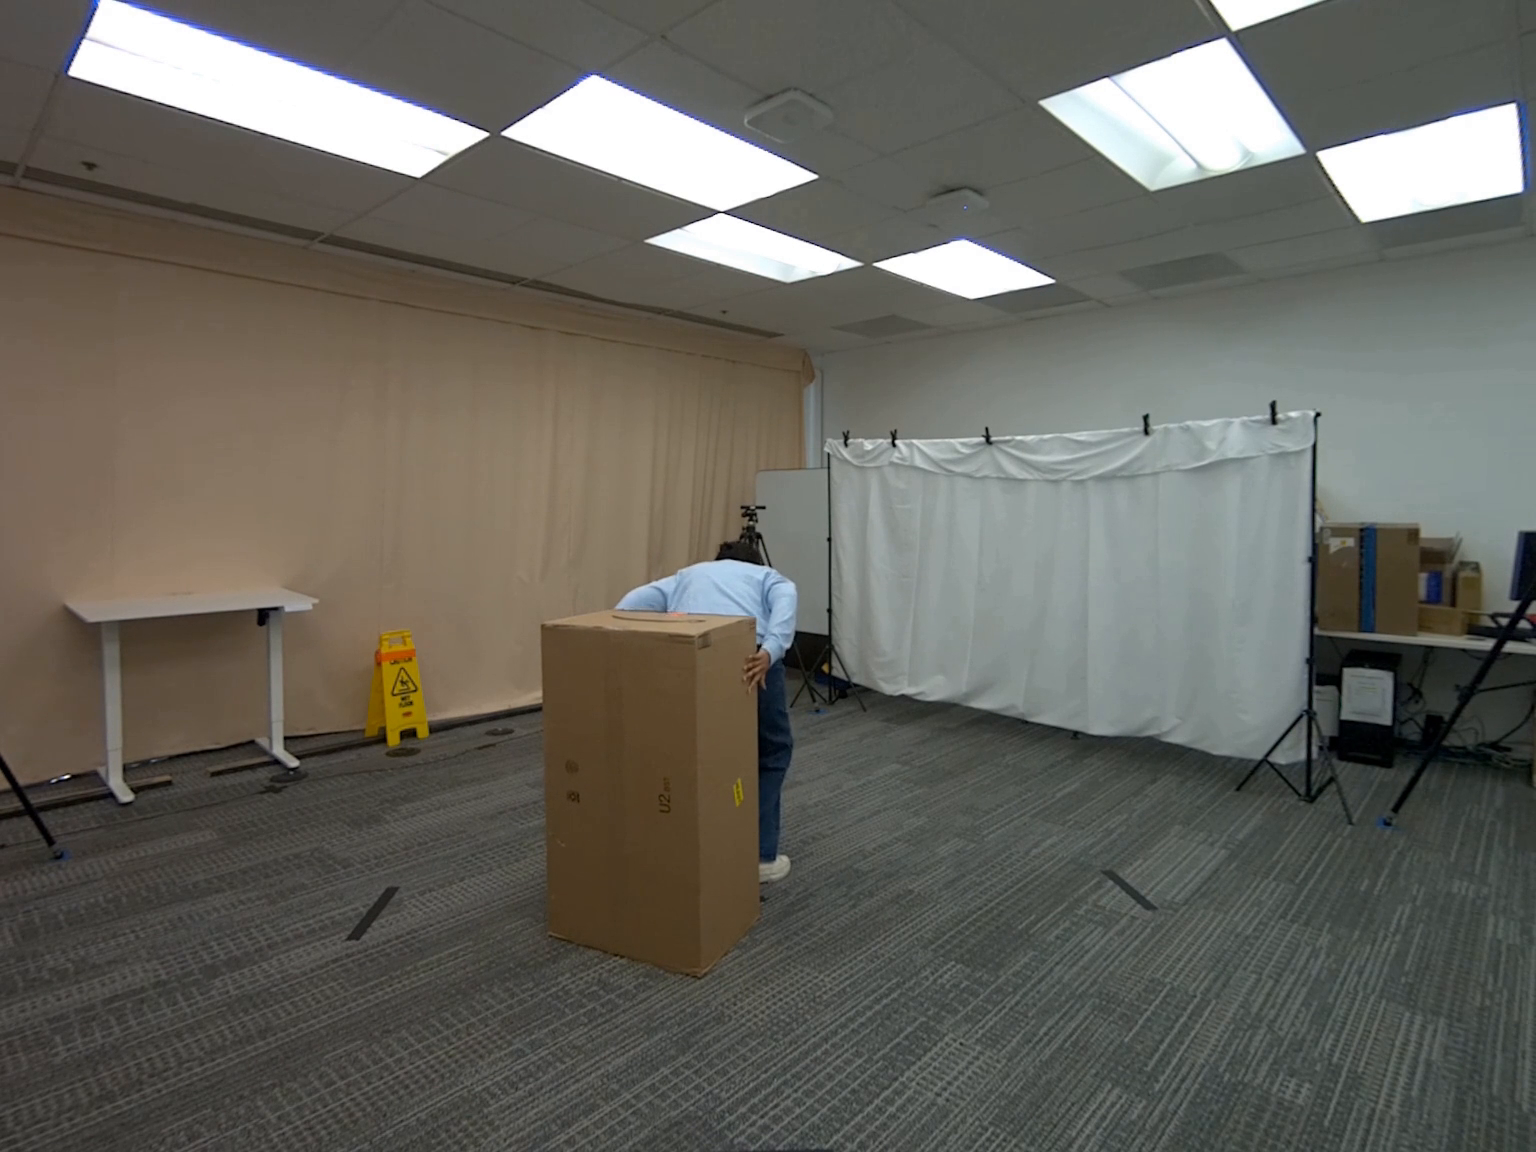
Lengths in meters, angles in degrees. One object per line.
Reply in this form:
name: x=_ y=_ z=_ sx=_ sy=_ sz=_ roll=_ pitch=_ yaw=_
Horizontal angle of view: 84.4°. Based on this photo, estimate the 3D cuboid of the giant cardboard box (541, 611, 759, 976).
giant cardboard box: x=-0.381 y=0.658 z=2.770 sx=0.593 sy=1.024 sz=0.416 roll=1 pitch=3 yaw=26
